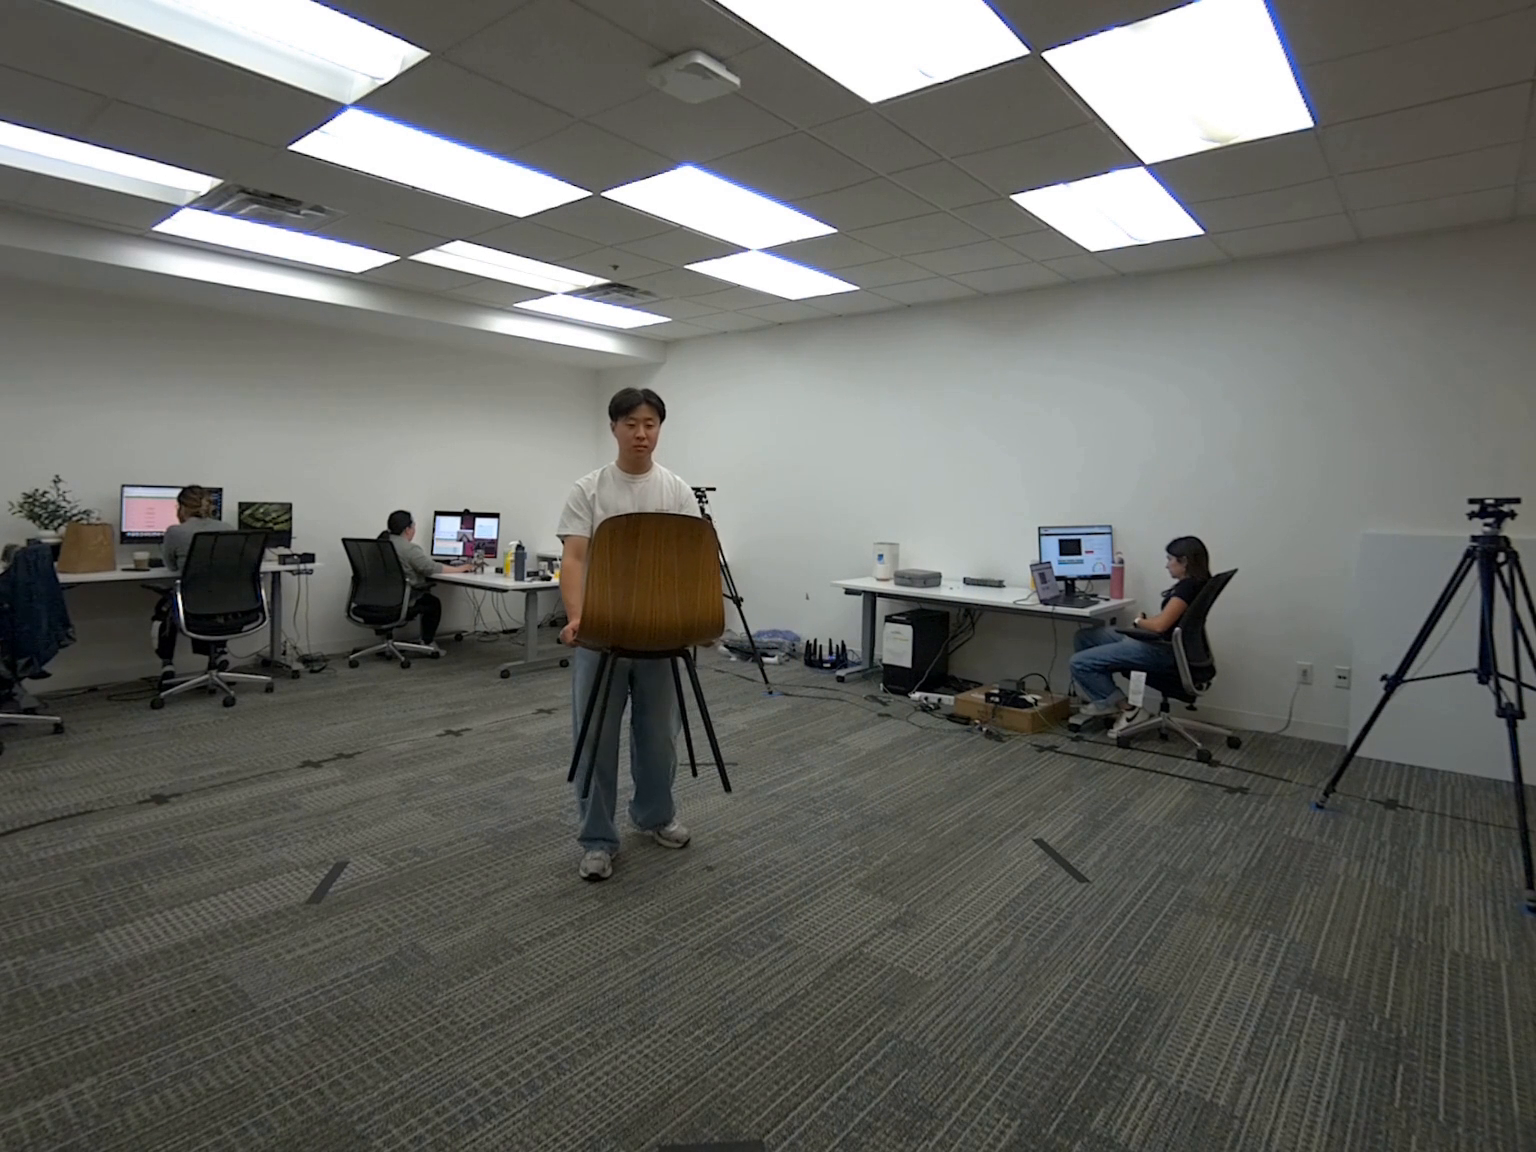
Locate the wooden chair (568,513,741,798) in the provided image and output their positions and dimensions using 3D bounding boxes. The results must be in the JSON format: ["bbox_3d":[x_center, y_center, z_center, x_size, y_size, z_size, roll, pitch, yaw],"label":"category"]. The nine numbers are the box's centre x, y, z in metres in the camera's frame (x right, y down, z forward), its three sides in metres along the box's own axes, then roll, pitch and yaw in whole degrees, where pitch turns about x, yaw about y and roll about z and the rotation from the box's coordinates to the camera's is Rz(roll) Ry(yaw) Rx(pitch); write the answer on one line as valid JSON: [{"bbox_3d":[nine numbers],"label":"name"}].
[{"bbox_3d":[-0.408,0.249,2.793,0.469,0.882,0.530,0,-5,-18],"label":"wooden chair"}]
